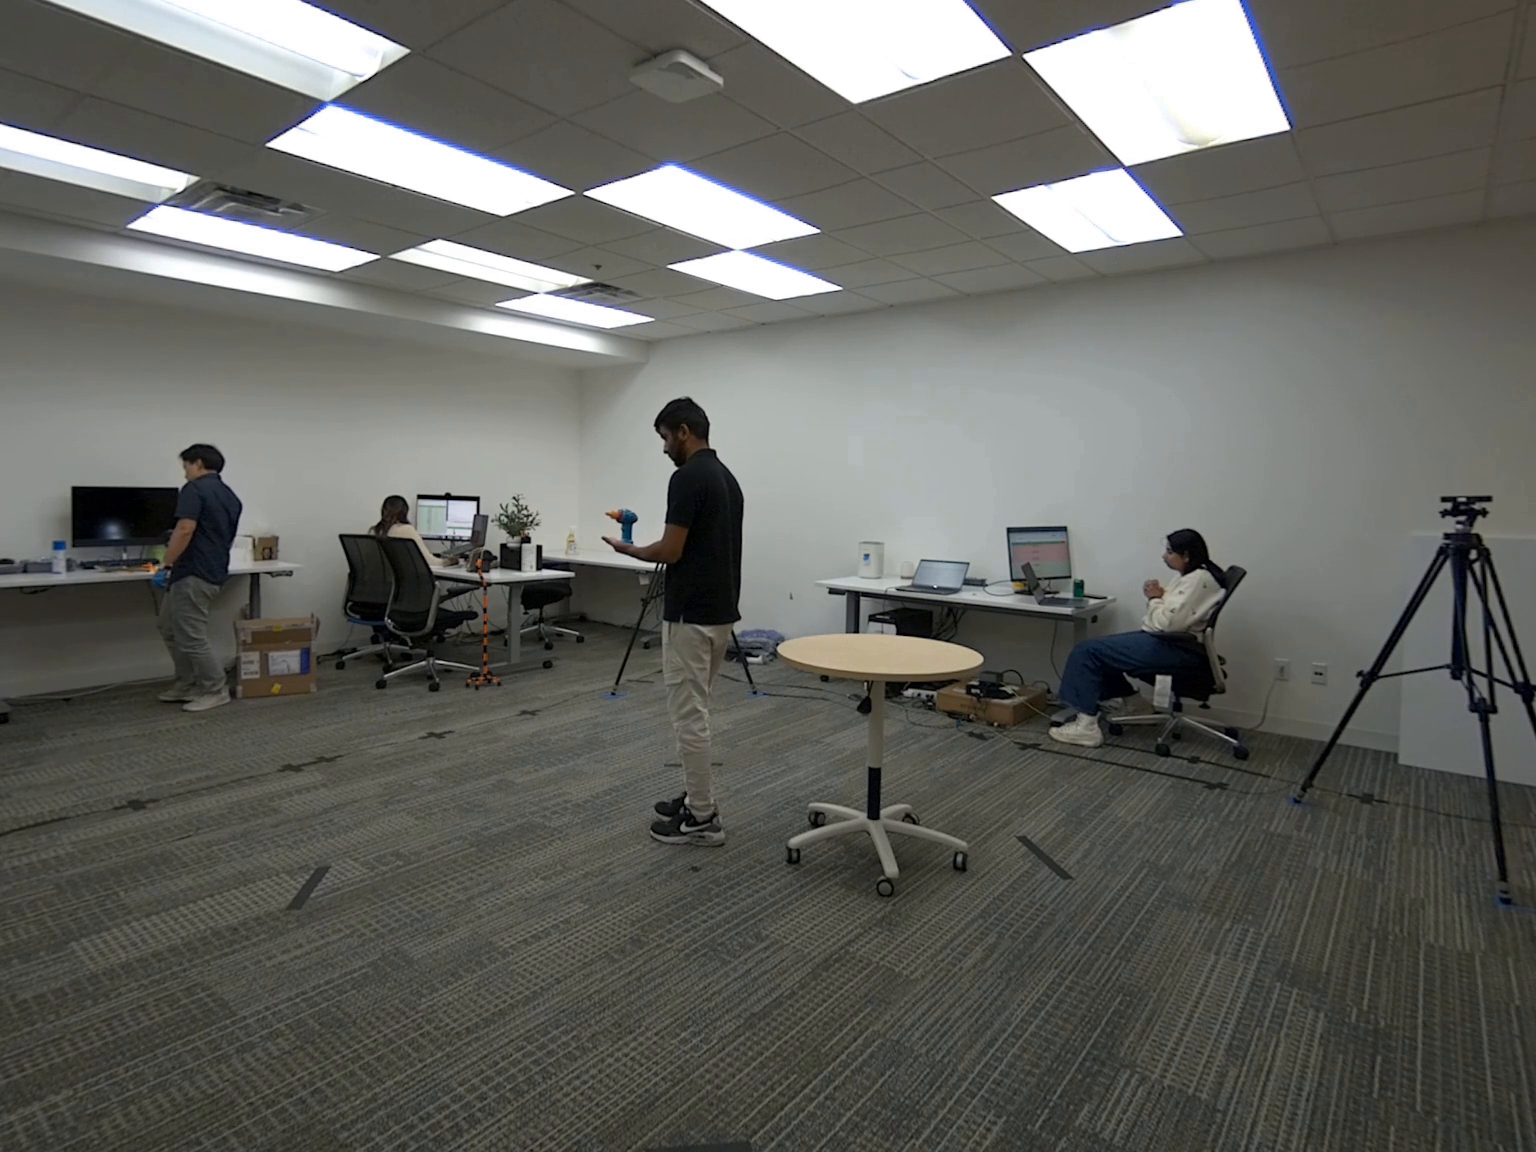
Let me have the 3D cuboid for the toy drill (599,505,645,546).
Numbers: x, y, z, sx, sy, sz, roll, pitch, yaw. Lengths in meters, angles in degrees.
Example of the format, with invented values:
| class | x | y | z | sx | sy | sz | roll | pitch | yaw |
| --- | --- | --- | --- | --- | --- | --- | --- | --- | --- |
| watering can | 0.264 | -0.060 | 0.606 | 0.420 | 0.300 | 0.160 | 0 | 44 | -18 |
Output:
| class | x | y | z | sx | sy | sz | roll | pitch | yaw |
| --- | --- | --- | --- | --- | --- | --- | --- | --- | --- |
| toy drill | -0.589 | -0.204 | 3.391 | 0.063 | 0.146 | 0.164 | 2 | -5 | 39 |
